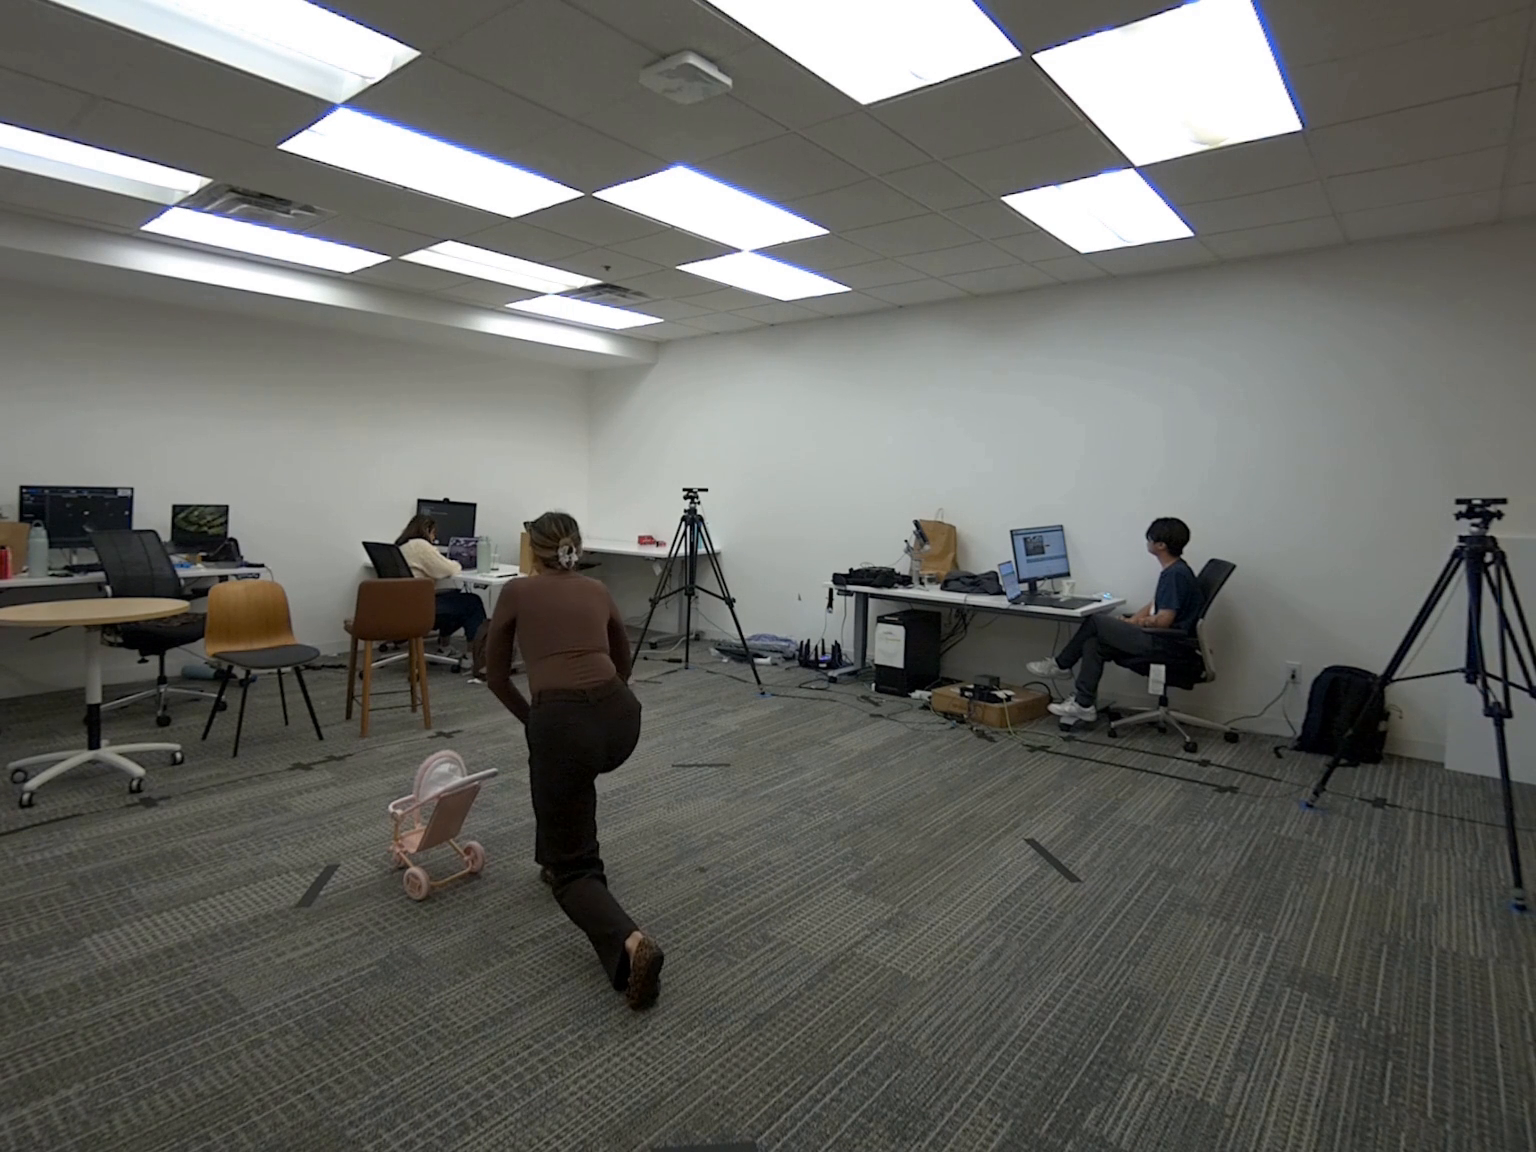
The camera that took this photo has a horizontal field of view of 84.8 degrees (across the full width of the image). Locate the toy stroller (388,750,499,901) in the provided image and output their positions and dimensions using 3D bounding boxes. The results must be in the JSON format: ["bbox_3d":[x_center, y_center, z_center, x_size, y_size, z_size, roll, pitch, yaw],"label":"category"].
[{"bbox_3d":[-1.178,0.847,2.978,0.354,0.530,0.273,24,15,32],"label":"toy stroller"}]
